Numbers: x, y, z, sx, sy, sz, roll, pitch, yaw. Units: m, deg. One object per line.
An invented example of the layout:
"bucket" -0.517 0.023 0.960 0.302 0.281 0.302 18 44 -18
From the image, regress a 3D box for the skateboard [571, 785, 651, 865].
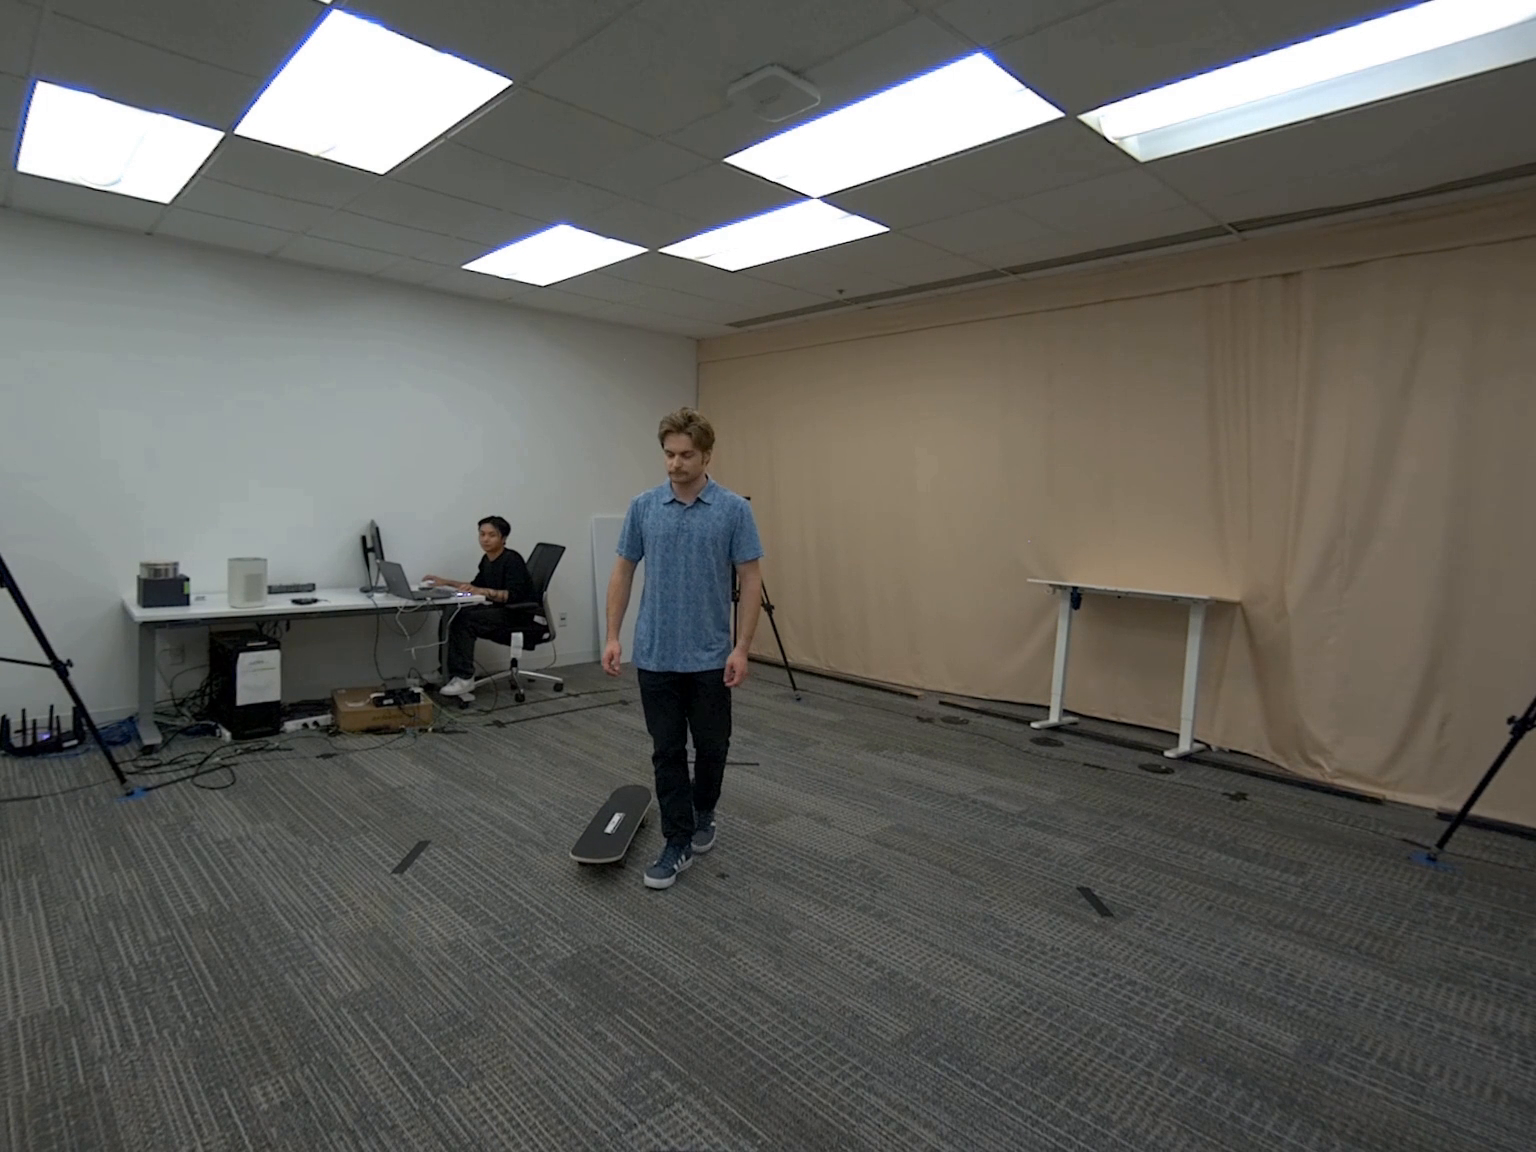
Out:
"skateboard" -0.613 1.010 3.360 0.194 0.110 0.785 1 5 2
